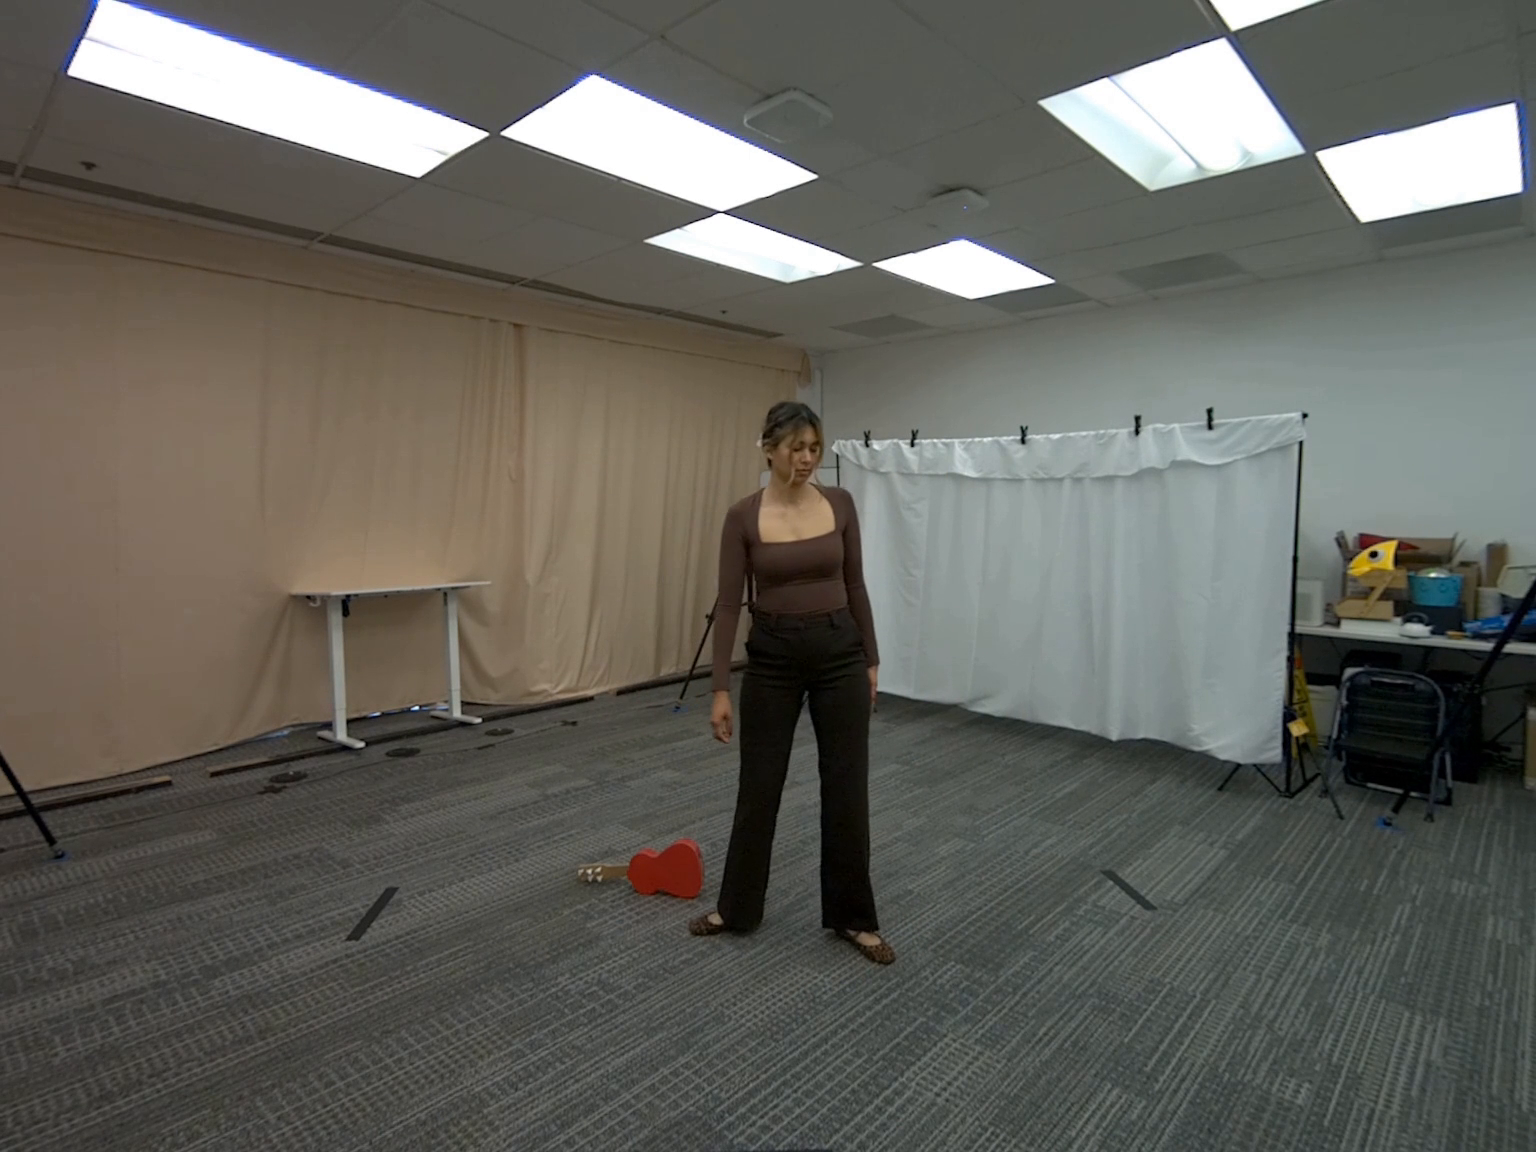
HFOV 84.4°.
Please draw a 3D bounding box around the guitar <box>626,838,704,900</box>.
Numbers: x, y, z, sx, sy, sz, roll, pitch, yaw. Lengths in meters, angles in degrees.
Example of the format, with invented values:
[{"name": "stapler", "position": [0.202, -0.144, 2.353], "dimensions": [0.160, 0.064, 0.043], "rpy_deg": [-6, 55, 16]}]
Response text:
[{"name": "guitar", "position": [-0.463, 1.092, 3.064], "dimensions": [0.504, 0.193, 0.070], "rpy_deg": [-18, -2, 15]}]
